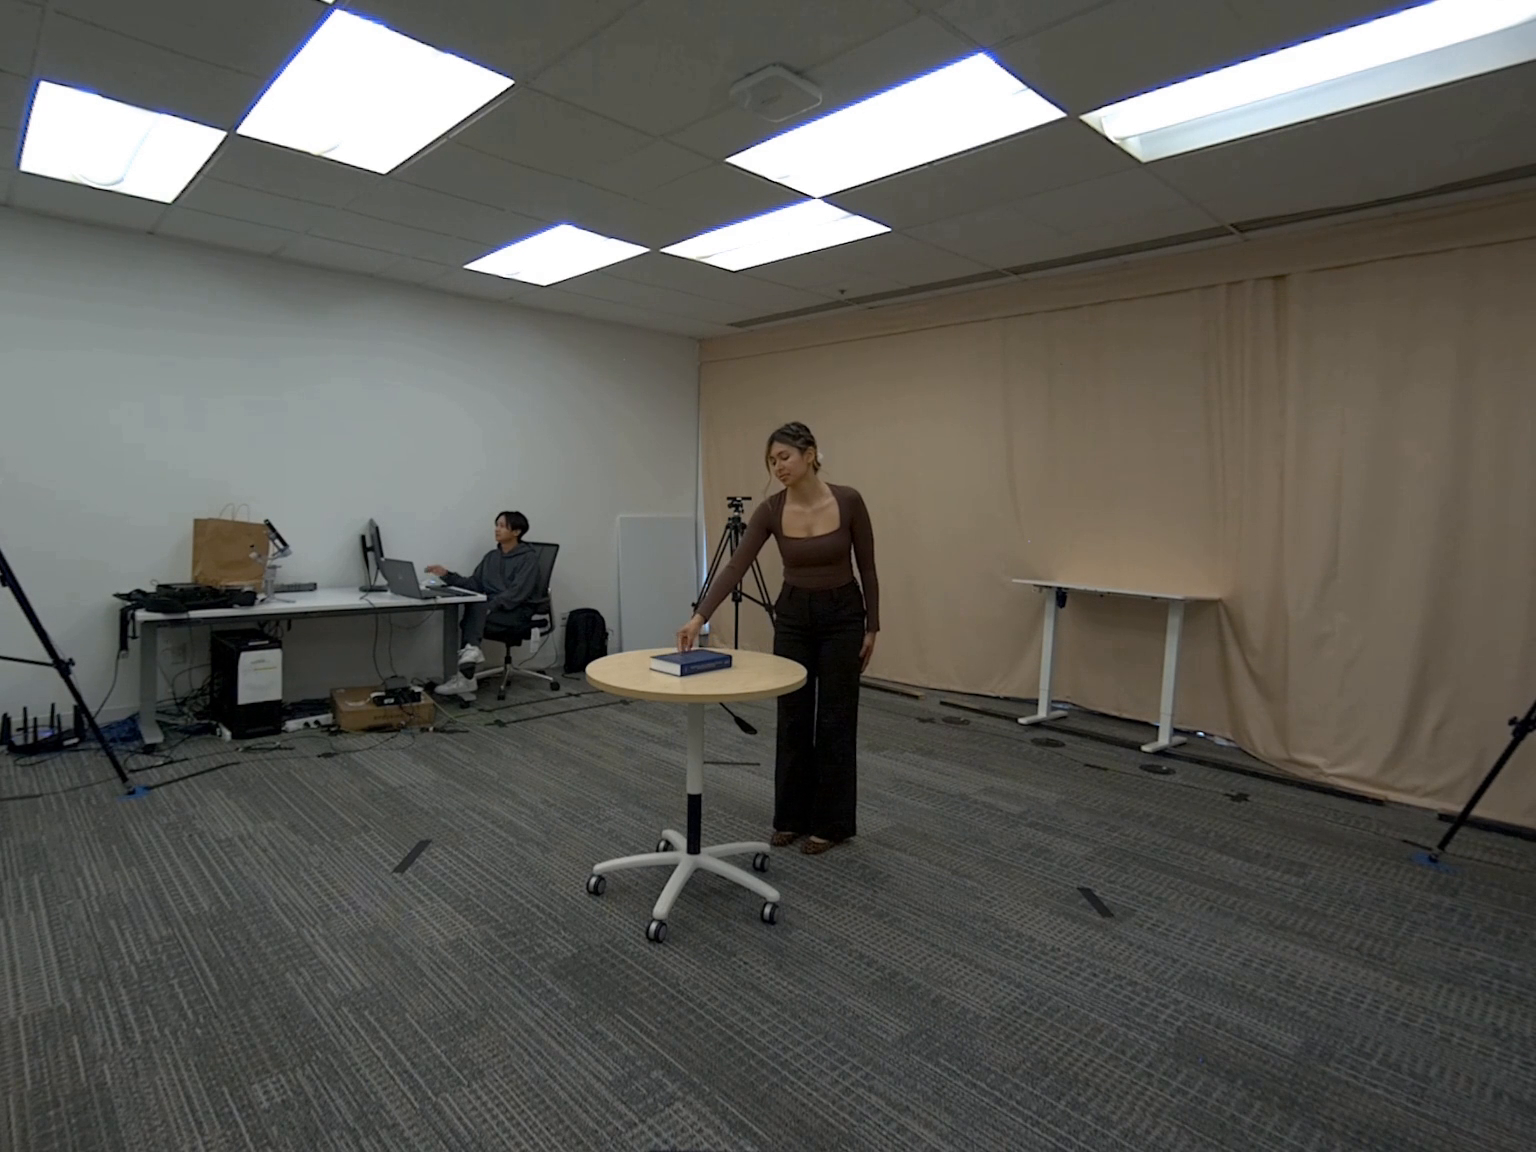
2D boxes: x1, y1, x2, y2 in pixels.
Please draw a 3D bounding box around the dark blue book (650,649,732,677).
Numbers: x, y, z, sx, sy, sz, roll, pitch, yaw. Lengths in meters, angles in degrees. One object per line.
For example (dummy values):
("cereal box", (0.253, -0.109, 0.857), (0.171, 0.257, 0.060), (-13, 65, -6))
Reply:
("dark blue book", (-0.270, 0.303, 2.916), (0.167, 0.045, 0.240), (6, 8, 42))
